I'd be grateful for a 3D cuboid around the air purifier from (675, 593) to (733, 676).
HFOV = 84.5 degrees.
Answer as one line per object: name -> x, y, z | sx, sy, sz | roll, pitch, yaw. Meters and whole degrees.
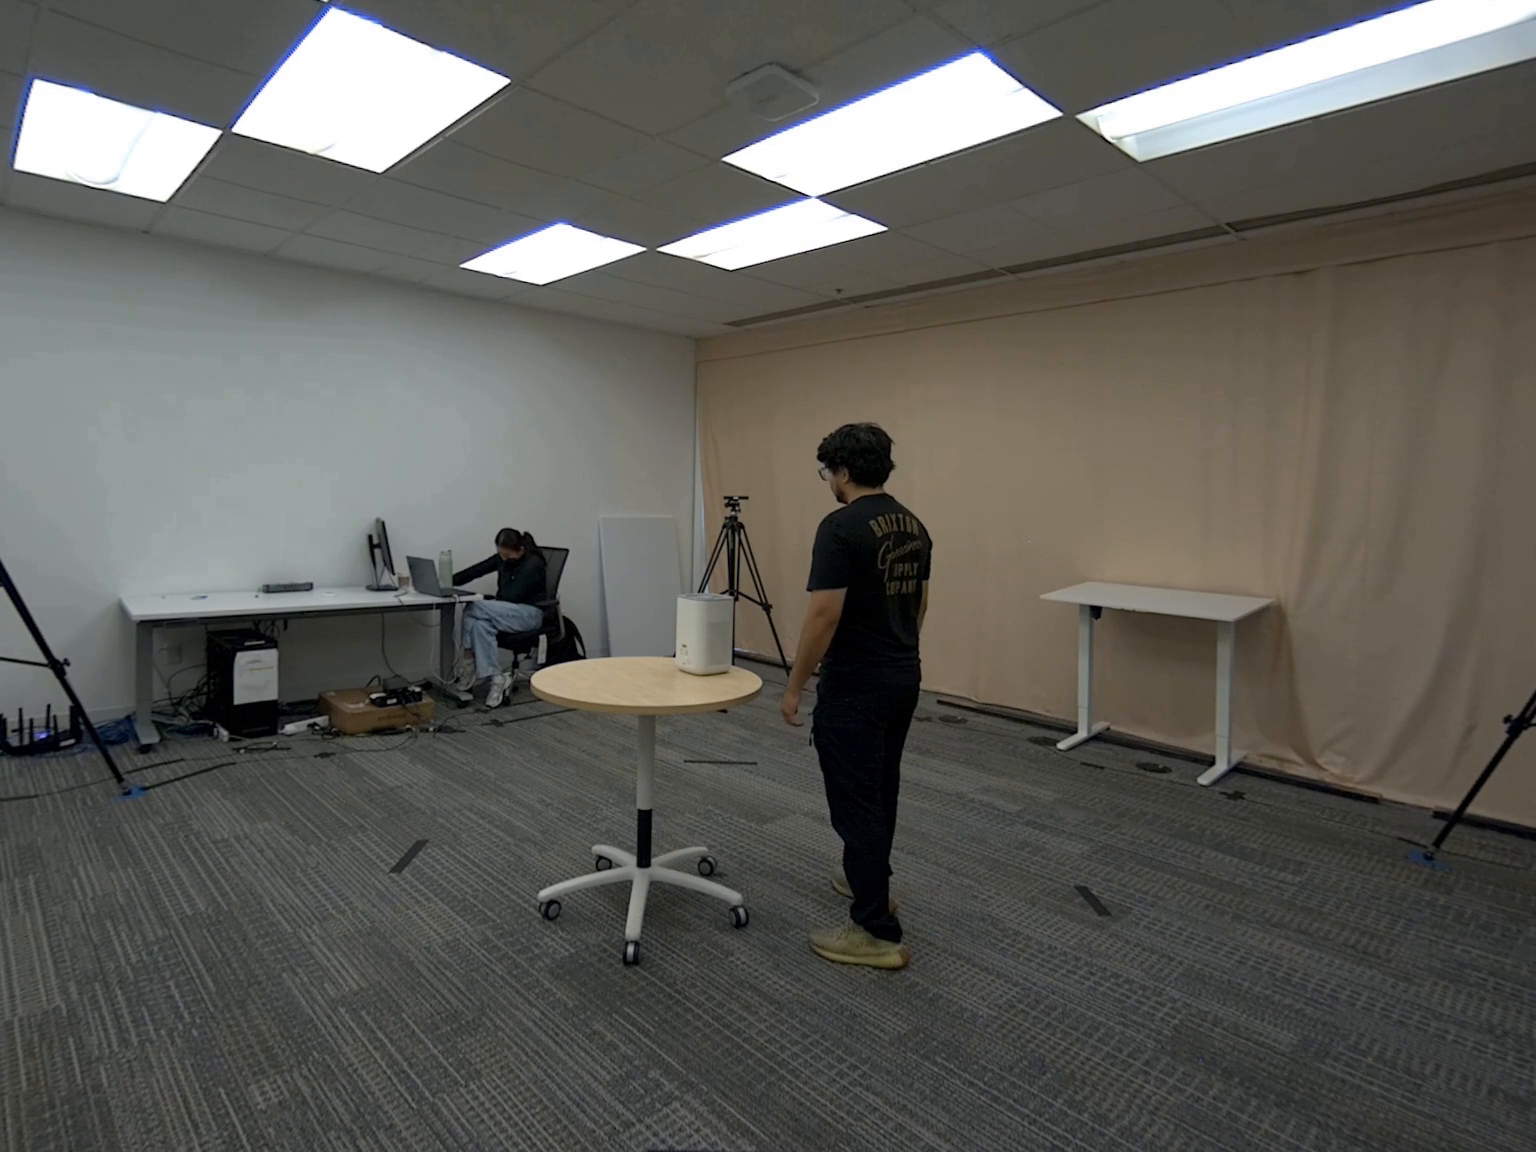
air purifier -> -0.228, 0.202, 2.957 | 0.167, 0.265, 0.175 | 0, 3, -41
